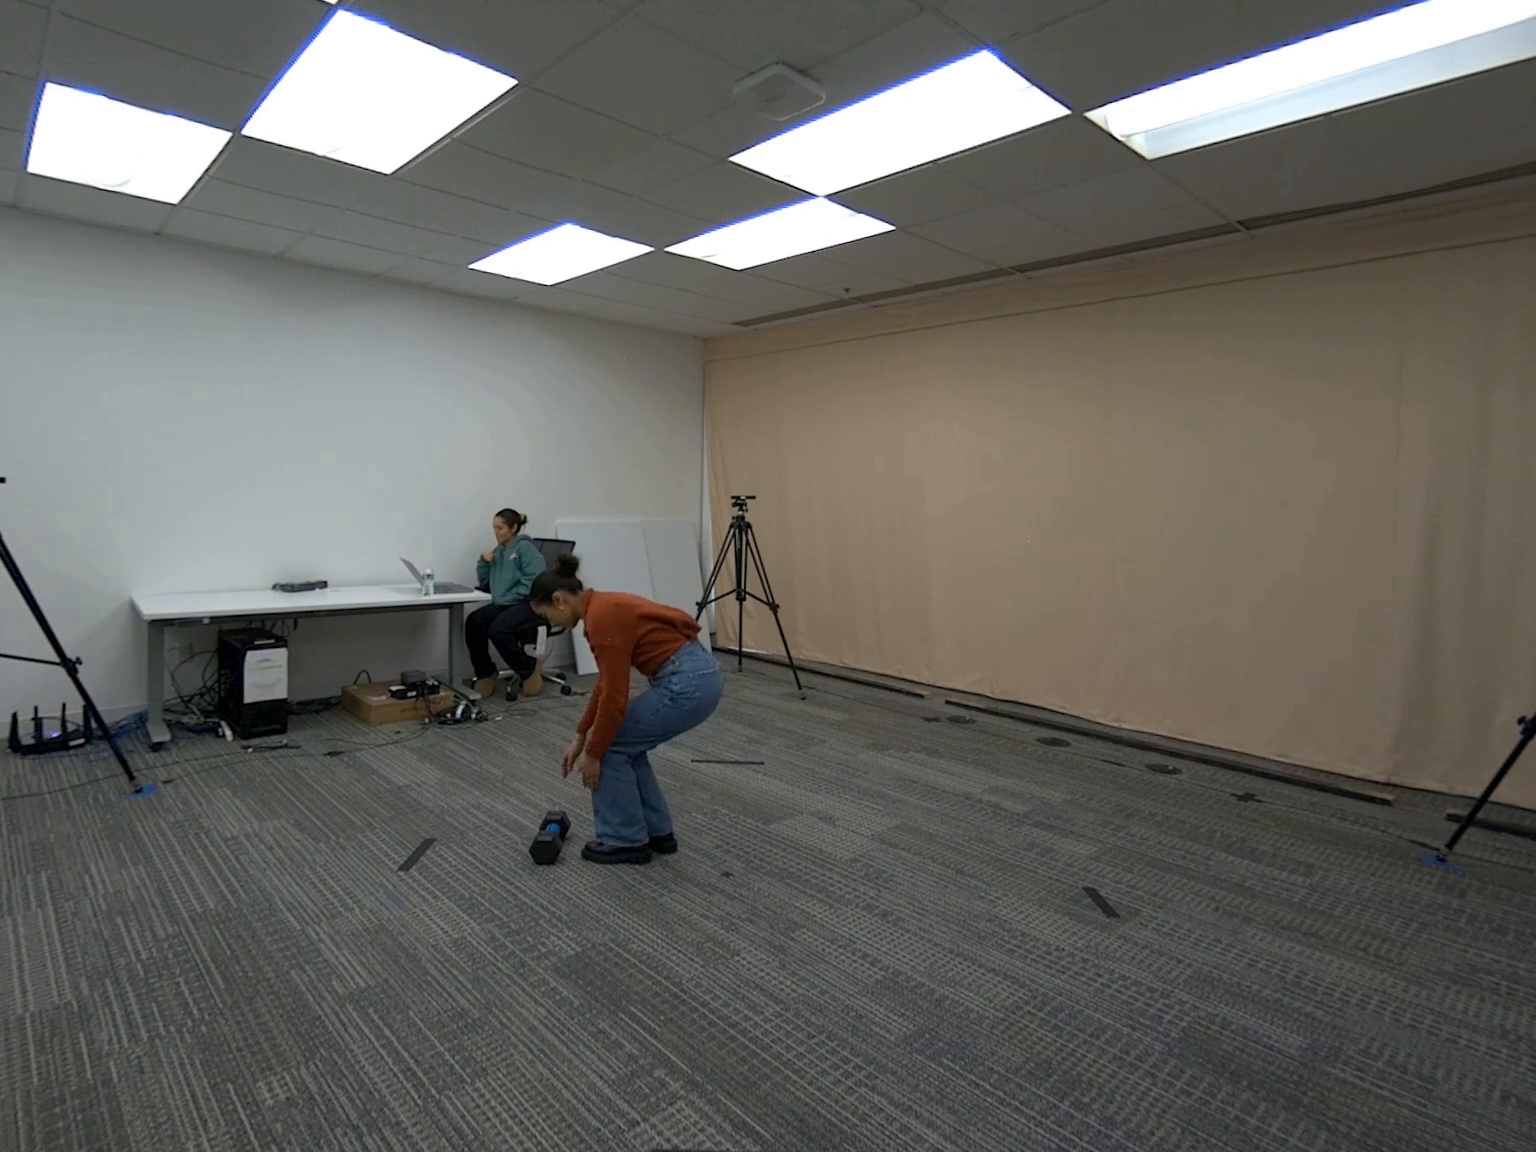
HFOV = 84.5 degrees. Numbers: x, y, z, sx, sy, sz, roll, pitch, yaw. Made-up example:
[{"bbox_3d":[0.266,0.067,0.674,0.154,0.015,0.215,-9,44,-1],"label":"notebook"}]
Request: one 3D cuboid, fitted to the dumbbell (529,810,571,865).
[{"bbox_3d":[-0.847,1.012,3.285,0.108,0.123,0.295,32,2,-6],"label":"dumbbell"}]
